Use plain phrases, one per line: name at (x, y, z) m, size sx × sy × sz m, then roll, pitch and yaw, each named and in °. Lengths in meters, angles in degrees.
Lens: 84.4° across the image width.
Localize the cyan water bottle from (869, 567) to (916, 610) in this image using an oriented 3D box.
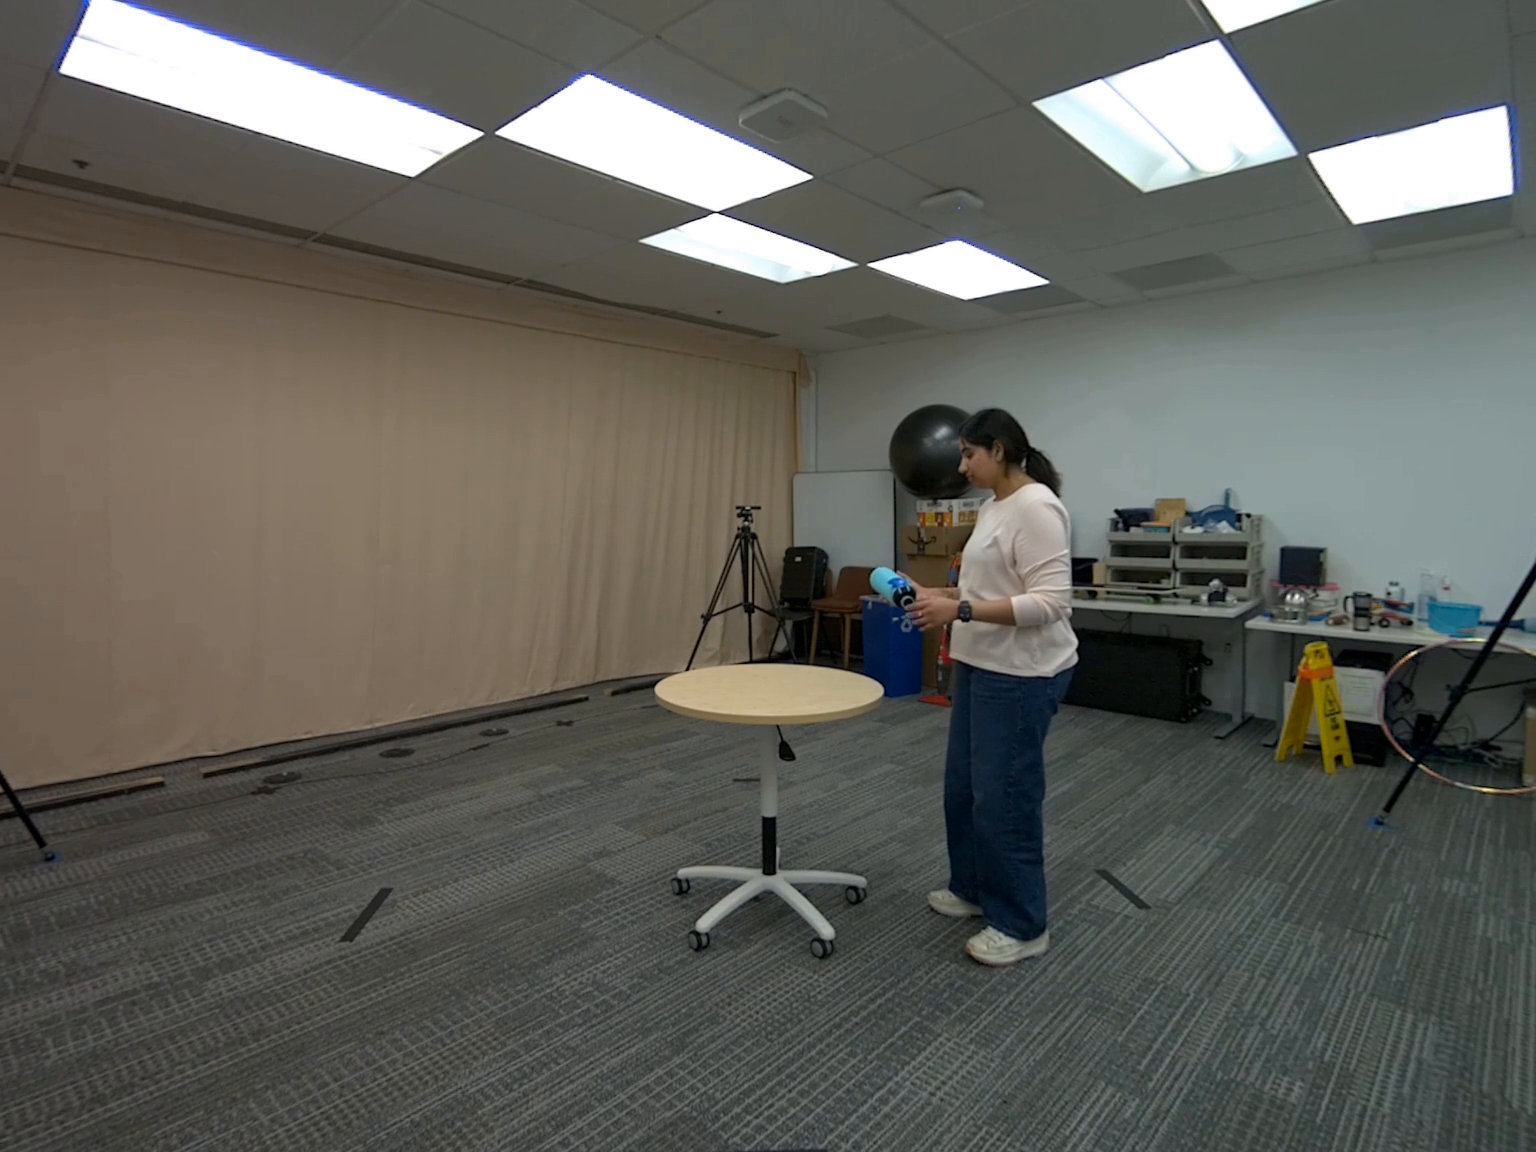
cyan water bottle at (0.434, 0.043, 2.812) m, size 0.092 × 0.092 × 0.286 m, roll 0°, pitch 11°, yaw -4°
